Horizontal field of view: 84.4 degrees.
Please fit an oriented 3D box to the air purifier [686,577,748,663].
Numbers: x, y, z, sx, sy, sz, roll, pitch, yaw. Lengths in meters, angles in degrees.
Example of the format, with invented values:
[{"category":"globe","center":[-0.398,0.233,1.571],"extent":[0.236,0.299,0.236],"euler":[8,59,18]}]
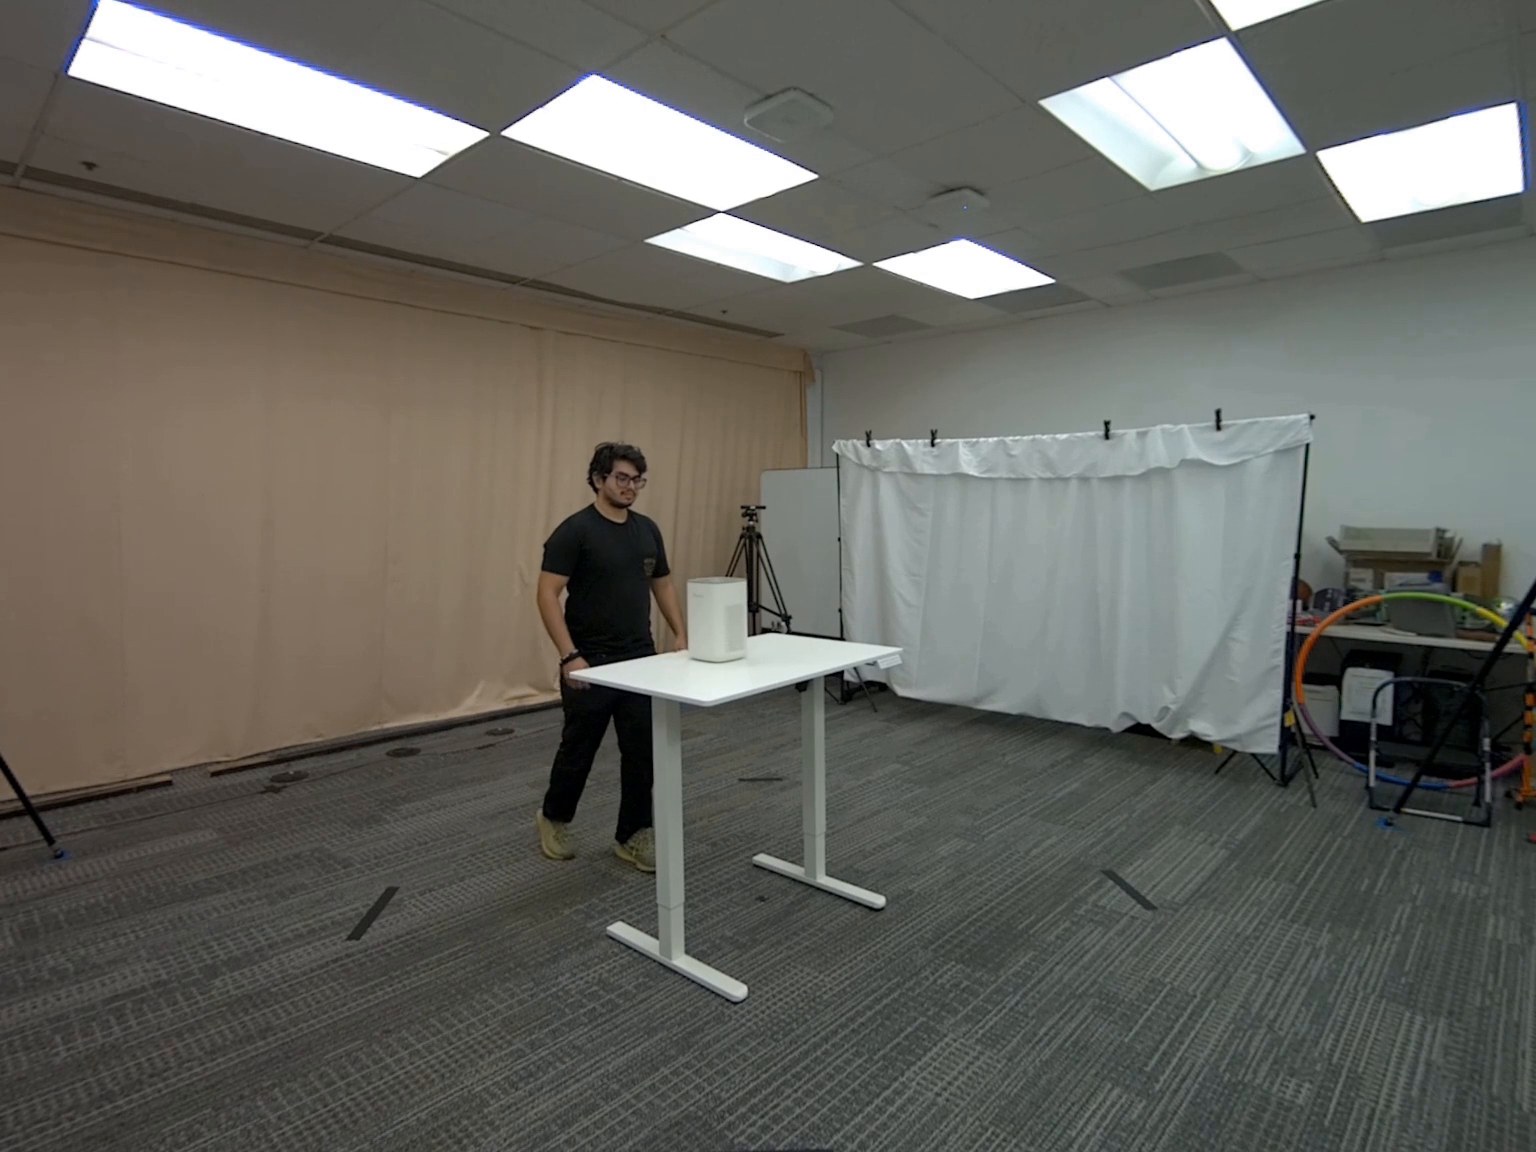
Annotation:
[{"category":"air purifier","center":[-0.165,0.144,2.806],"extent":[0.177,0.264,0.166],"euler":[4,6,41]}]
